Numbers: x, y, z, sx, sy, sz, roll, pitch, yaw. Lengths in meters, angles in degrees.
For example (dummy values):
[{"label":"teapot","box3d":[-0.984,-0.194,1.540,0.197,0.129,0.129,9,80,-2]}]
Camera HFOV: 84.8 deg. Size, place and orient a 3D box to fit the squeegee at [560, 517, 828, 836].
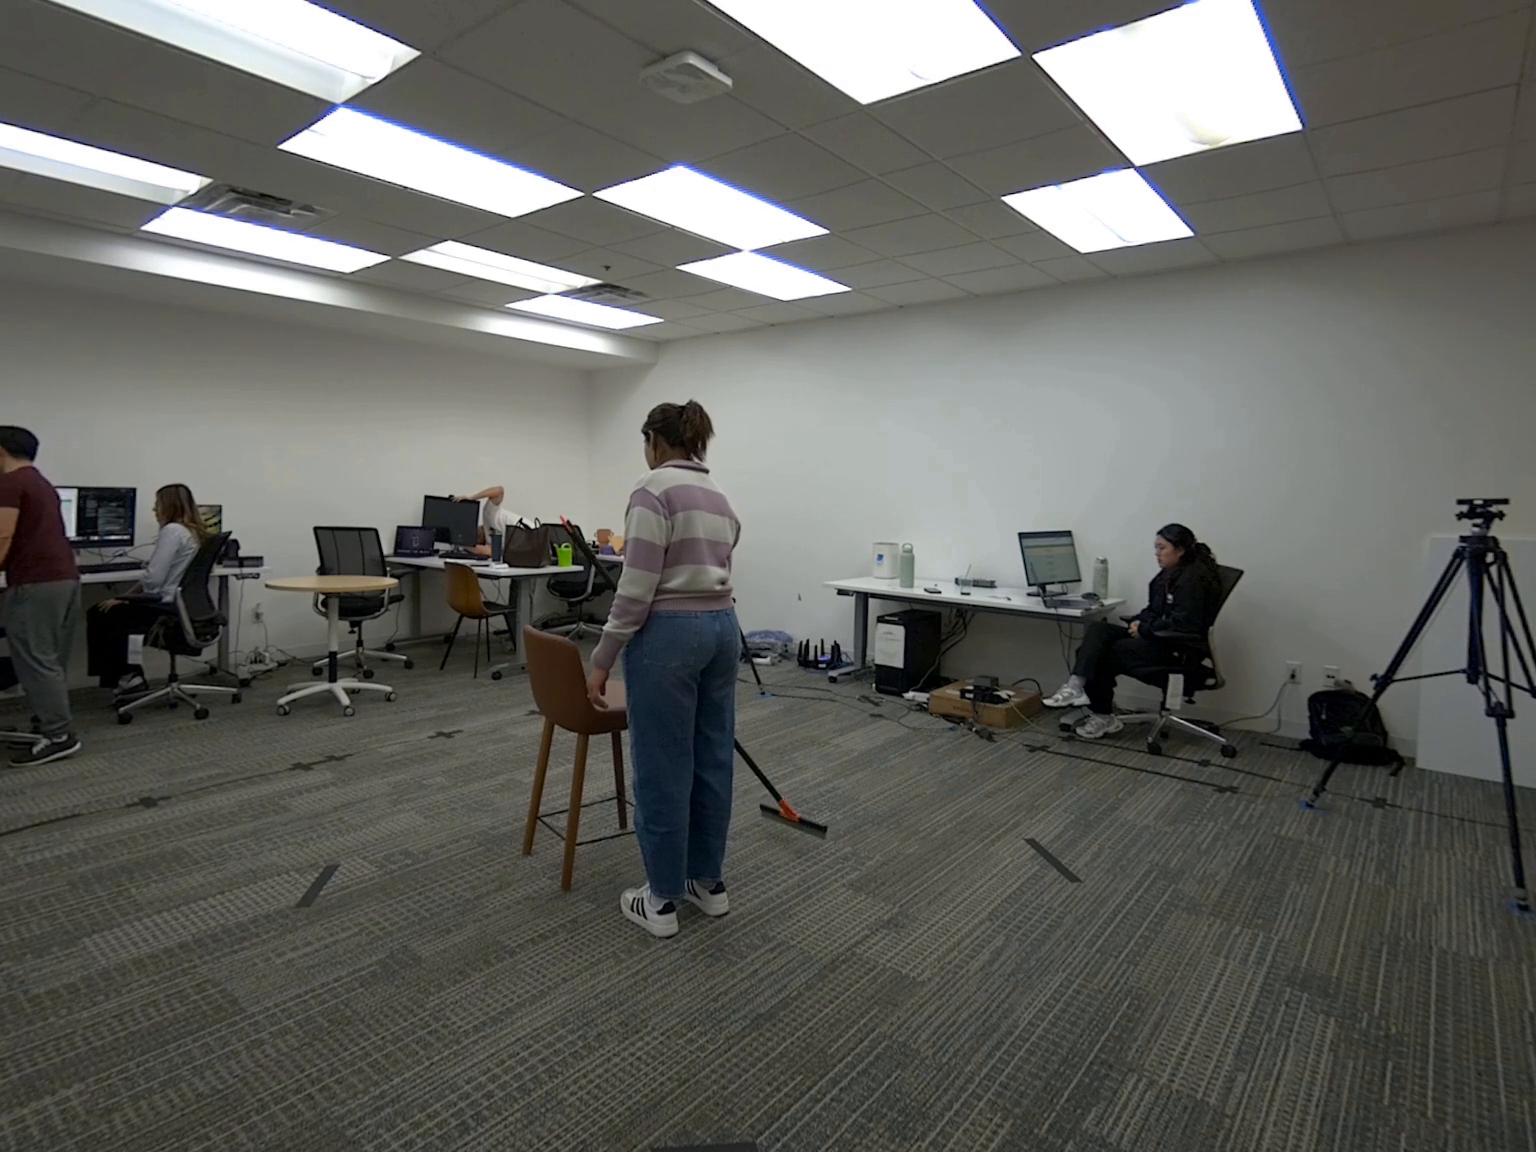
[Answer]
[{"label":"squeegee","box3d":[-0.319,0.369,3.197,0.053,1.505,0.448,-43,18,-28]}]
